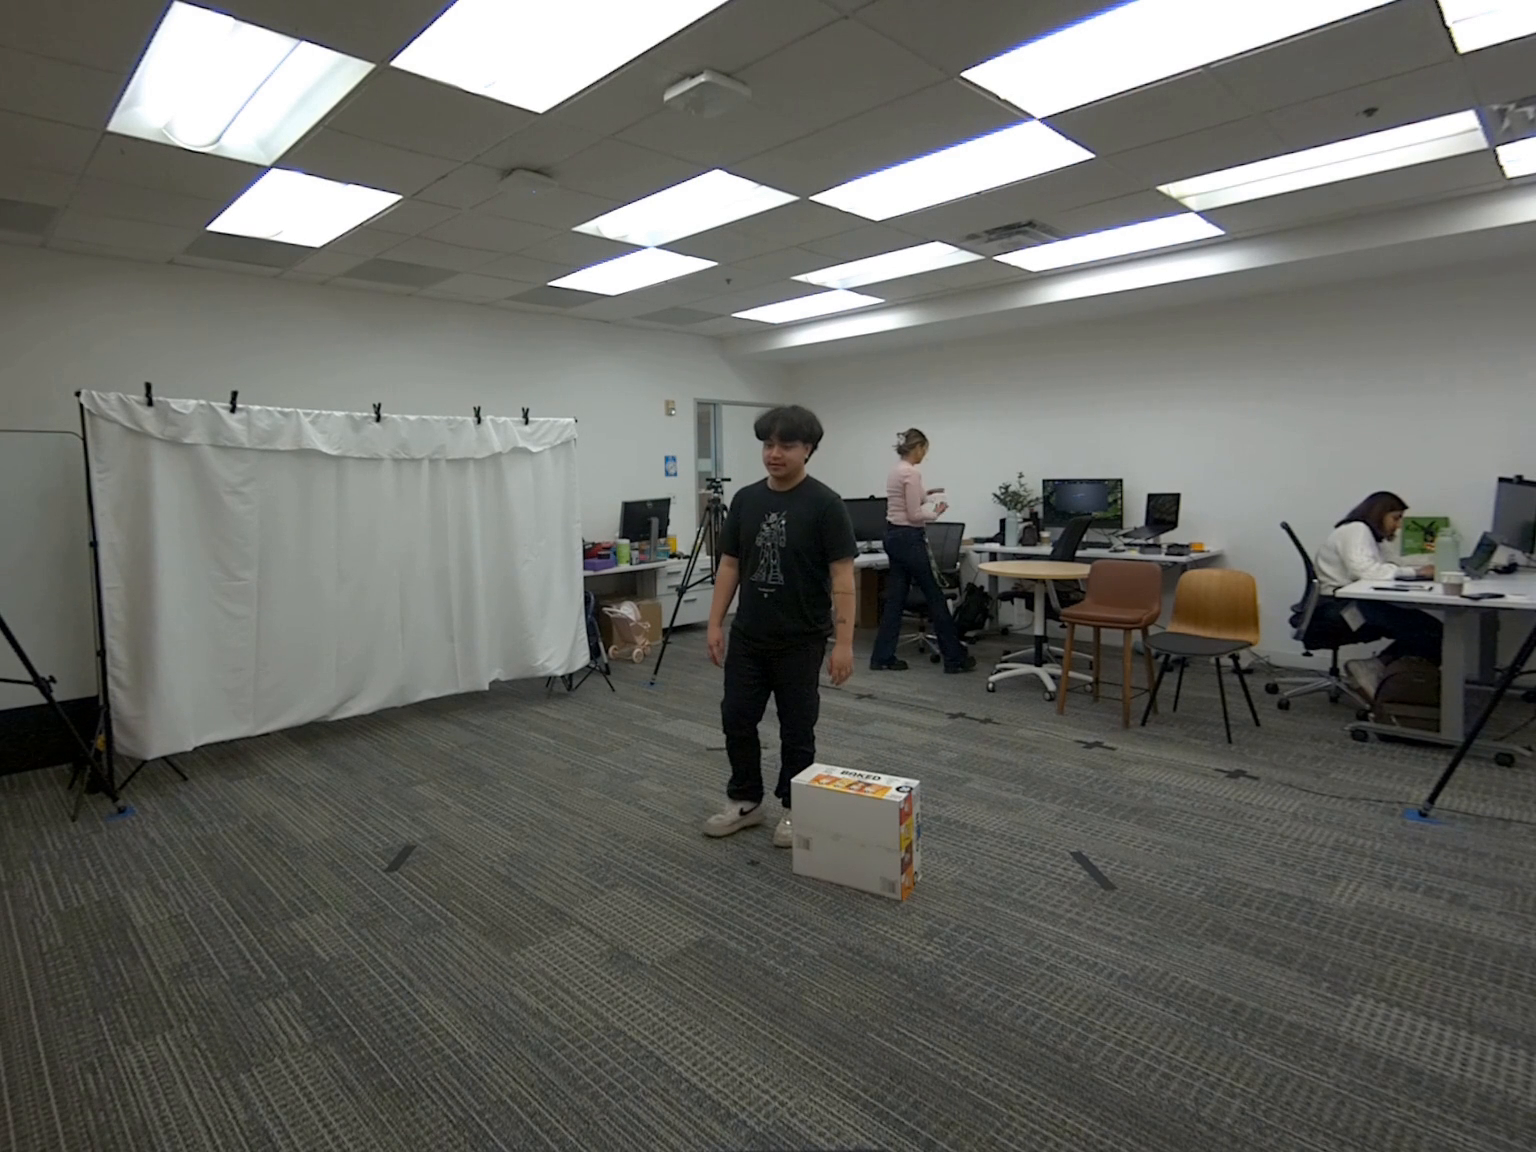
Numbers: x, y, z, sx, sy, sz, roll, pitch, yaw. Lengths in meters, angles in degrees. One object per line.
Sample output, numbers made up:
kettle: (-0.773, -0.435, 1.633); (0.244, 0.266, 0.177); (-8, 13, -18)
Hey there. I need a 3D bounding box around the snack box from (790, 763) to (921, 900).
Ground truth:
snack box: (0.308, 0.880, 2.978); (0.416, 0.339, 0.201); (1, 5, 30)
